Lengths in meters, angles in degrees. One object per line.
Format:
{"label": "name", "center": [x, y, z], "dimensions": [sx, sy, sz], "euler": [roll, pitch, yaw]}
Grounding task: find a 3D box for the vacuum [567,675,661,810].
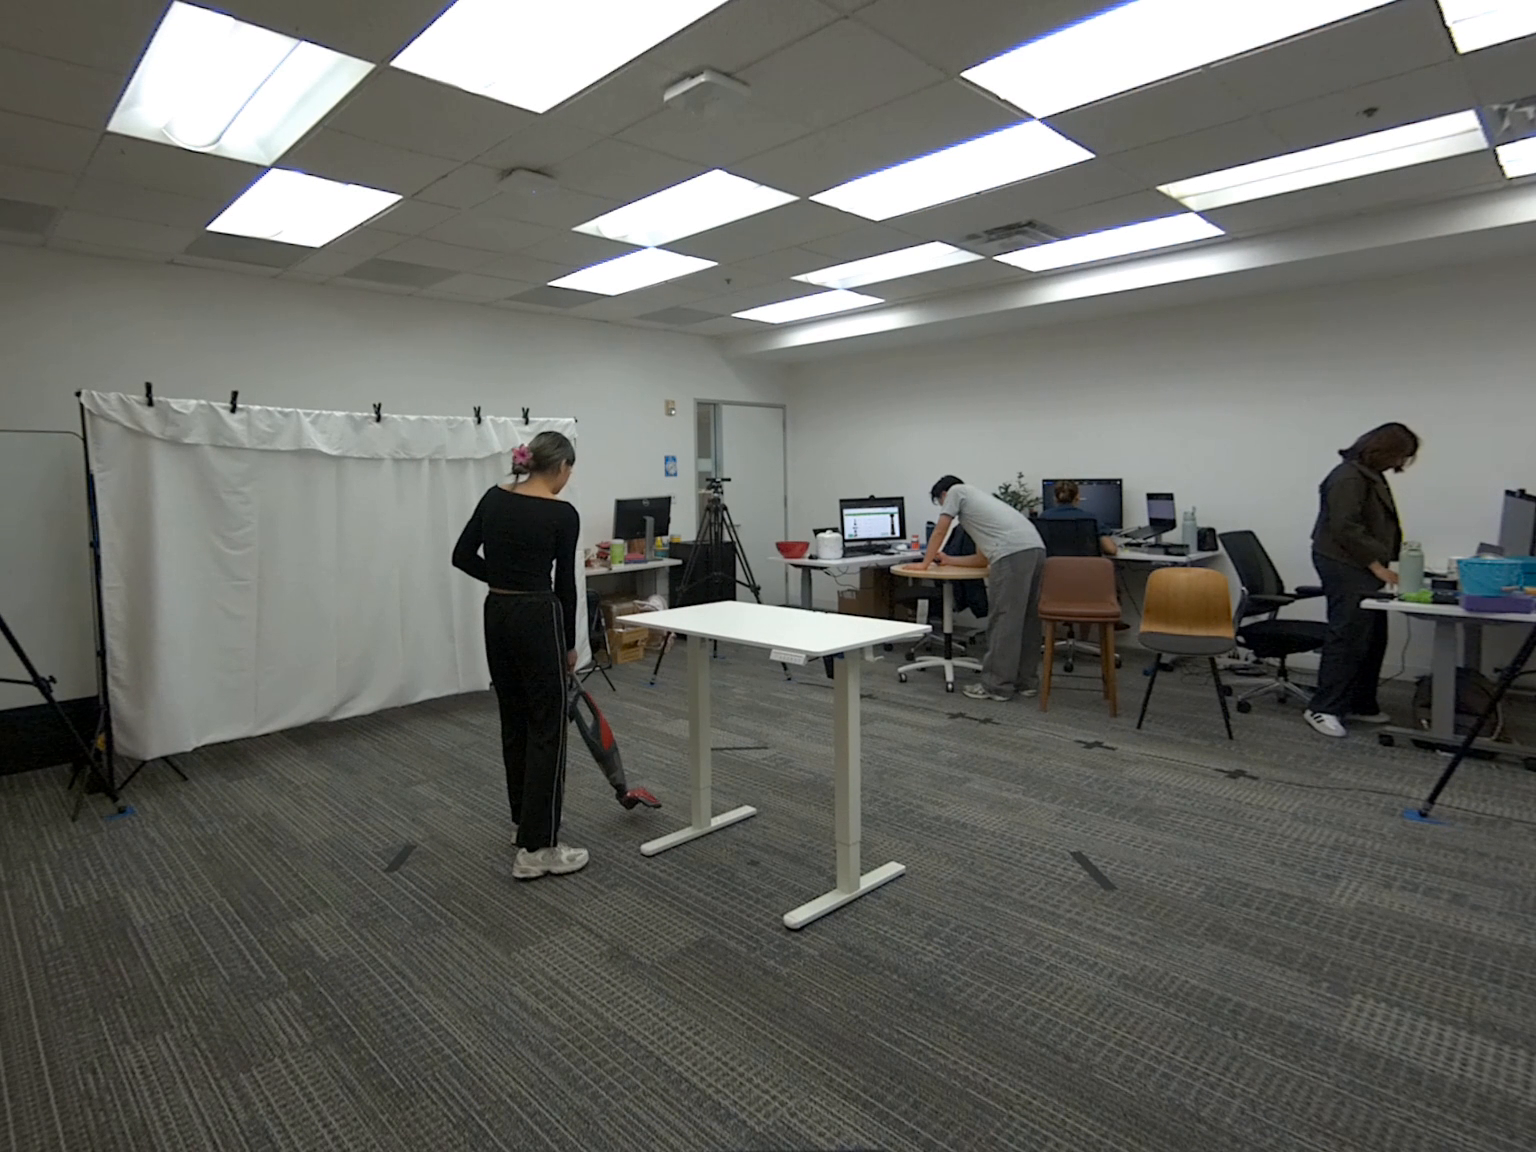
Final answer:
{"label": "vacuum", "center": [-0.771, 0.486, 3.451], "dimensions": [0.143, 1.038, 0.257], "euler": [-30, 9, -21]}
